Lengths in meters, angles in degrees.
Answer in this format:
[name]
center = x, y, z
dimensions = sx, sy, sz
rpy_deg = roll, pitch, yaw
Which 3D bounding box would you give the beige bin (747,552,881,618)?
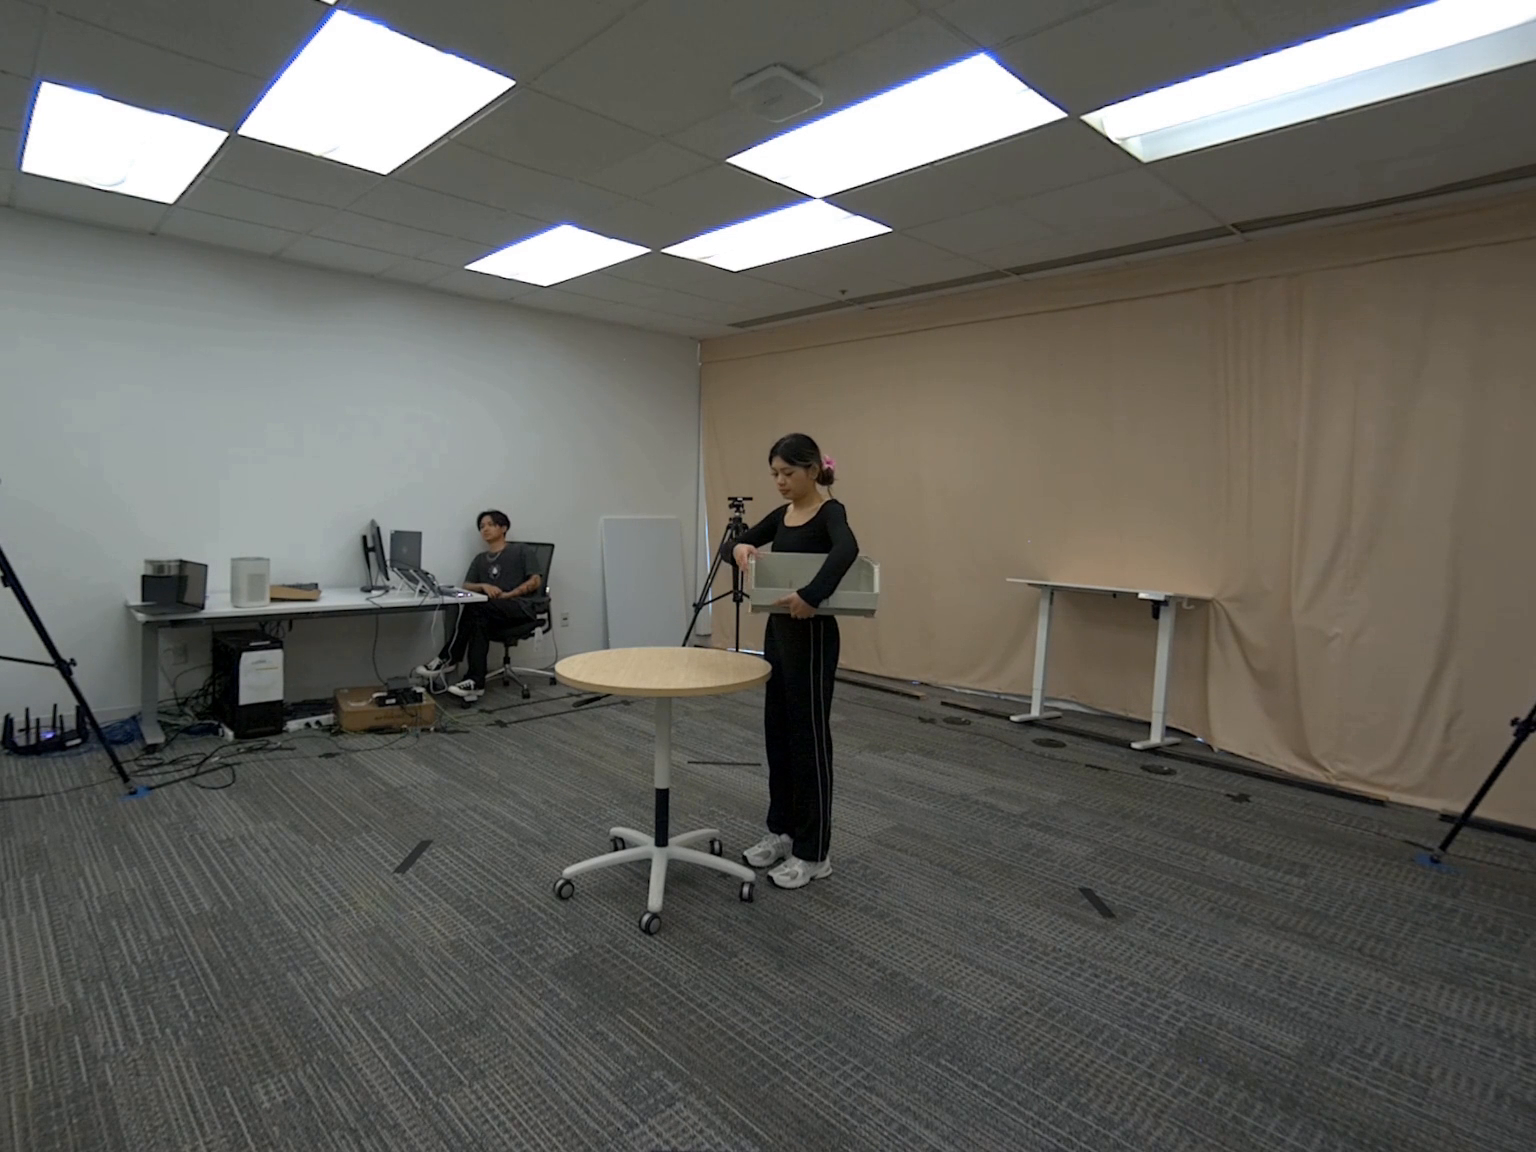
[beige bin]
center = 0.140, 0.030, 2.848
dimensions = 0.422, 0.188, 0.378
rpy_deg = 2, 5, 0
